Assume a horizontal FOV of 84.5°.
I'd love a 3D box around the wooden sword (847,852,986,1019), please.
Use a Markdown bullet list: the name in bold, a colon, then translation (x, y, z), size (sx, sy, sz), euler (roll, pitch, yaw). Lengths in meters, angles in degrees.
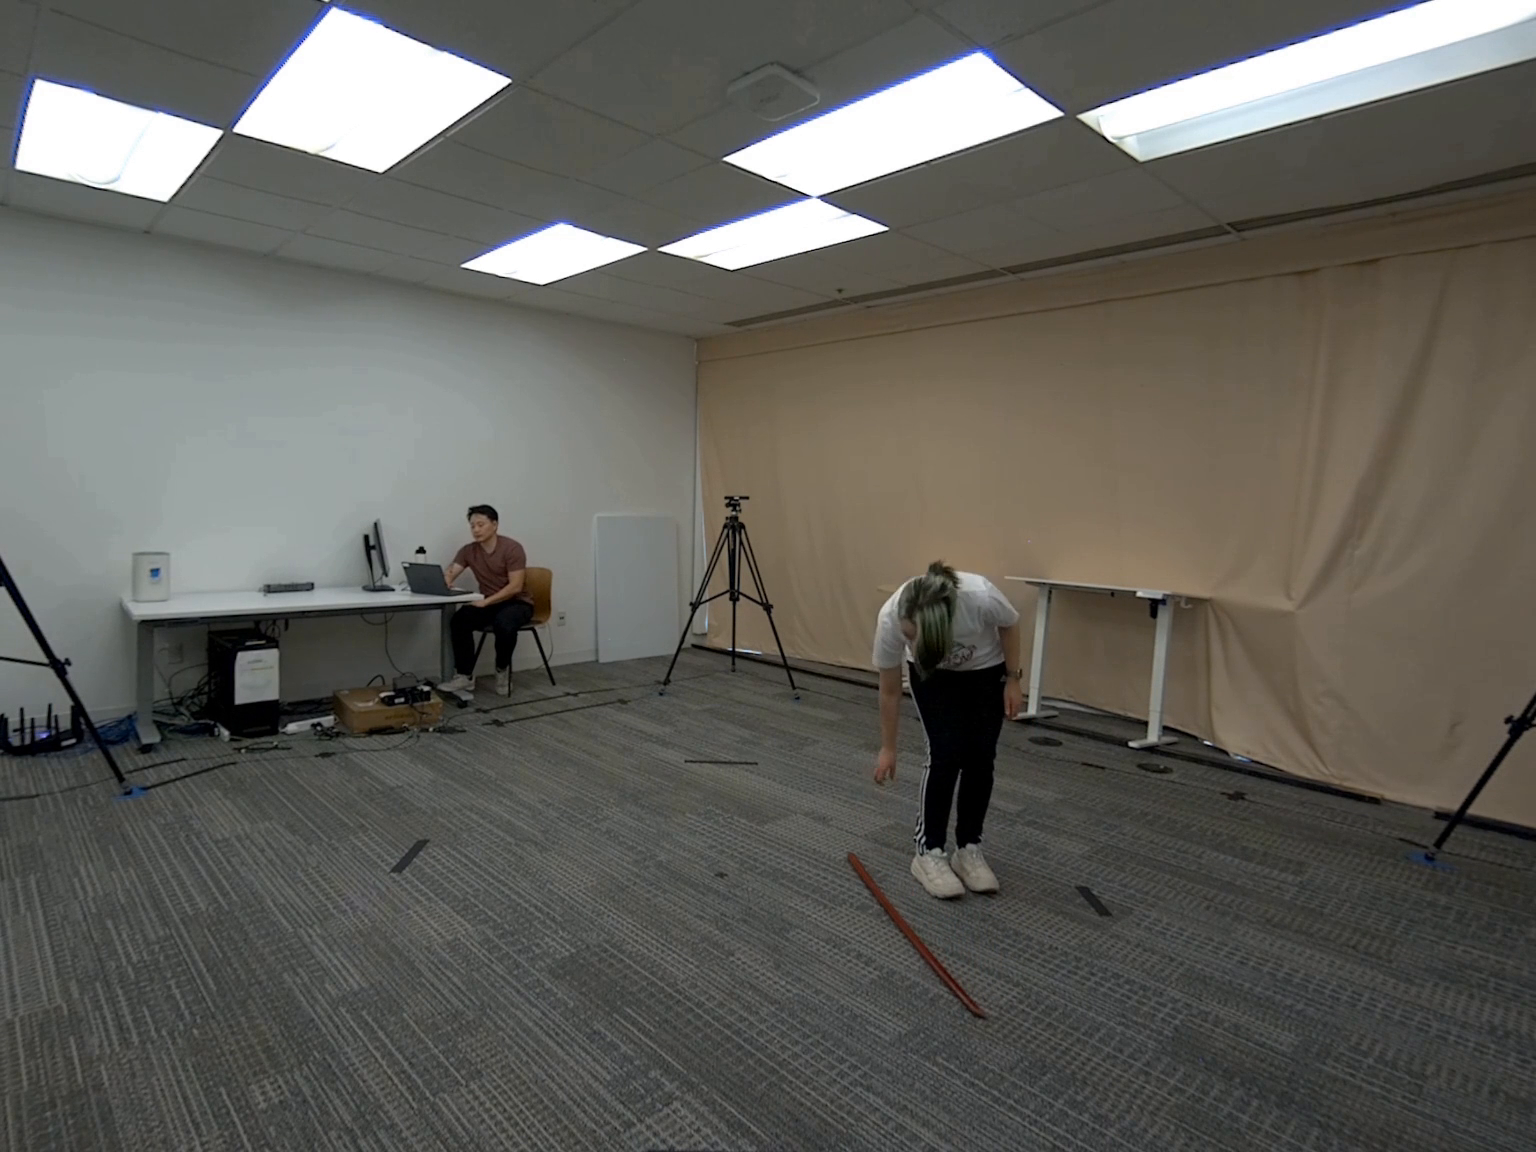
- **wooden sword**: translation (0.438, 1.118, 2.772), size (0.050, 0.024, 1.038), euler (24, -2, -15)
